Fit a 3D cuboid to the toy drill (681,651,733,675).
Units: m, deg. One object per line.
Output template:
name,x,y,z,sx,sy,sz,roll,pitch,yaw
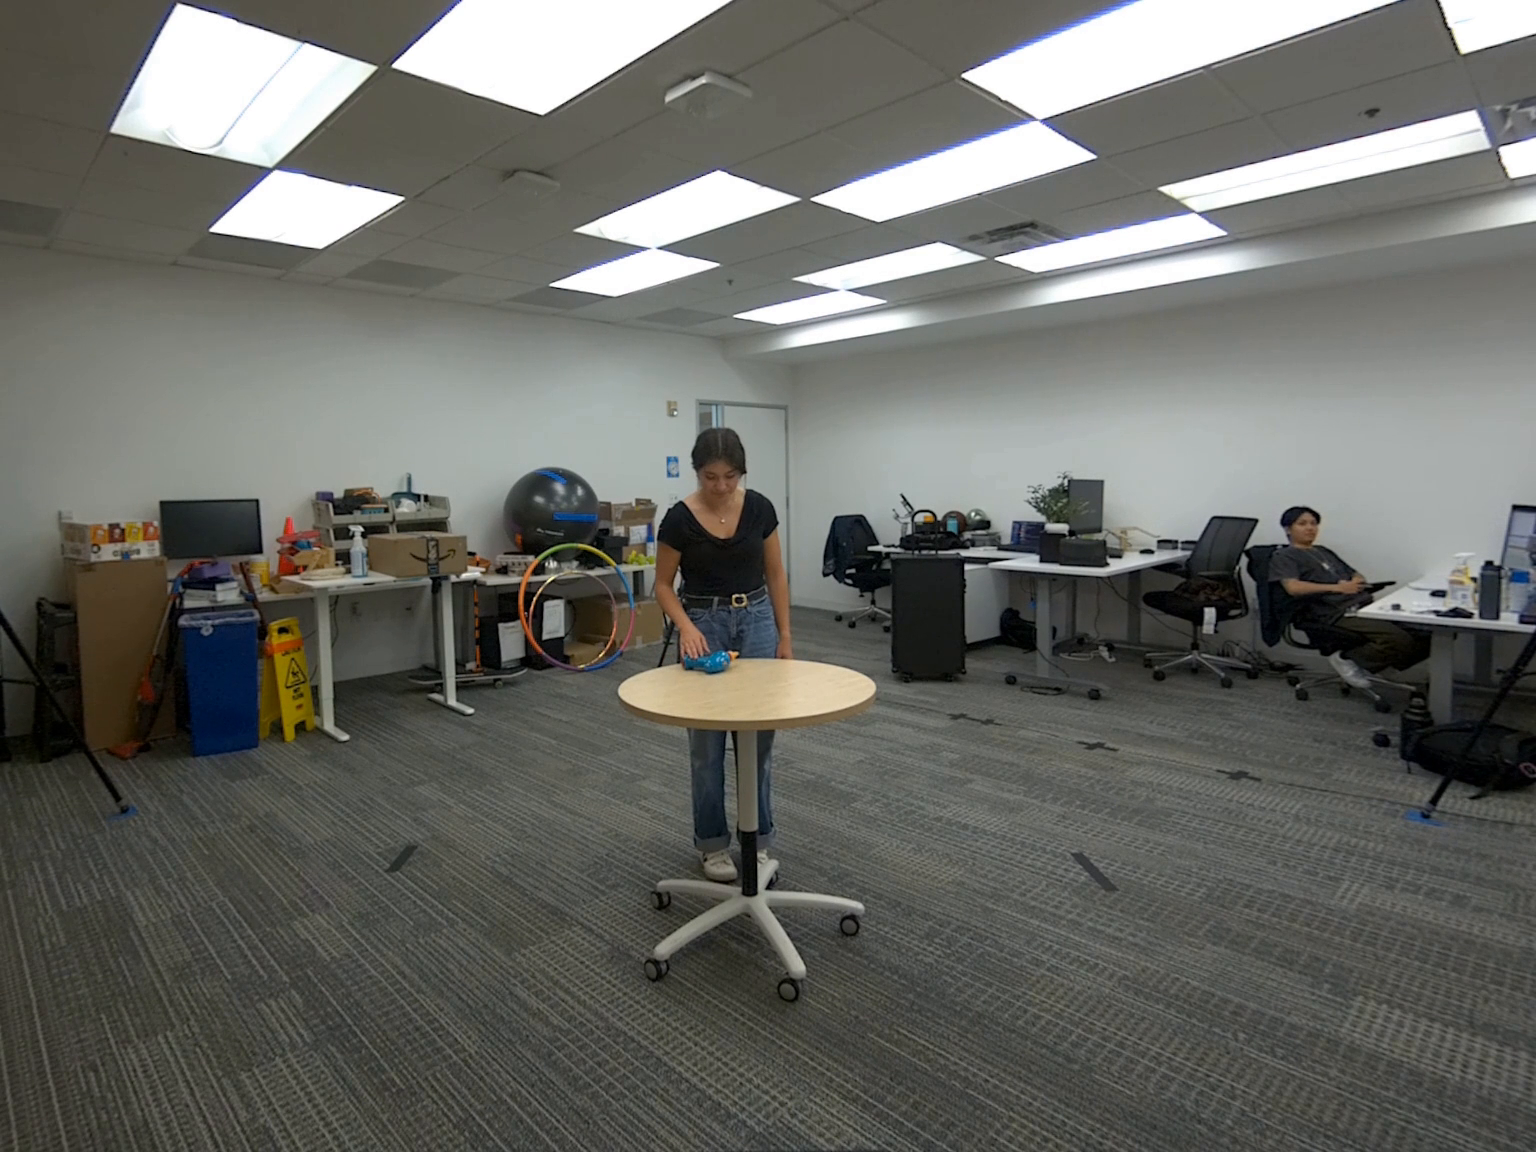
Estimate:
toy drill,-0.194,0.279,2.788,0.150,0.060,0.167,1,15,36
